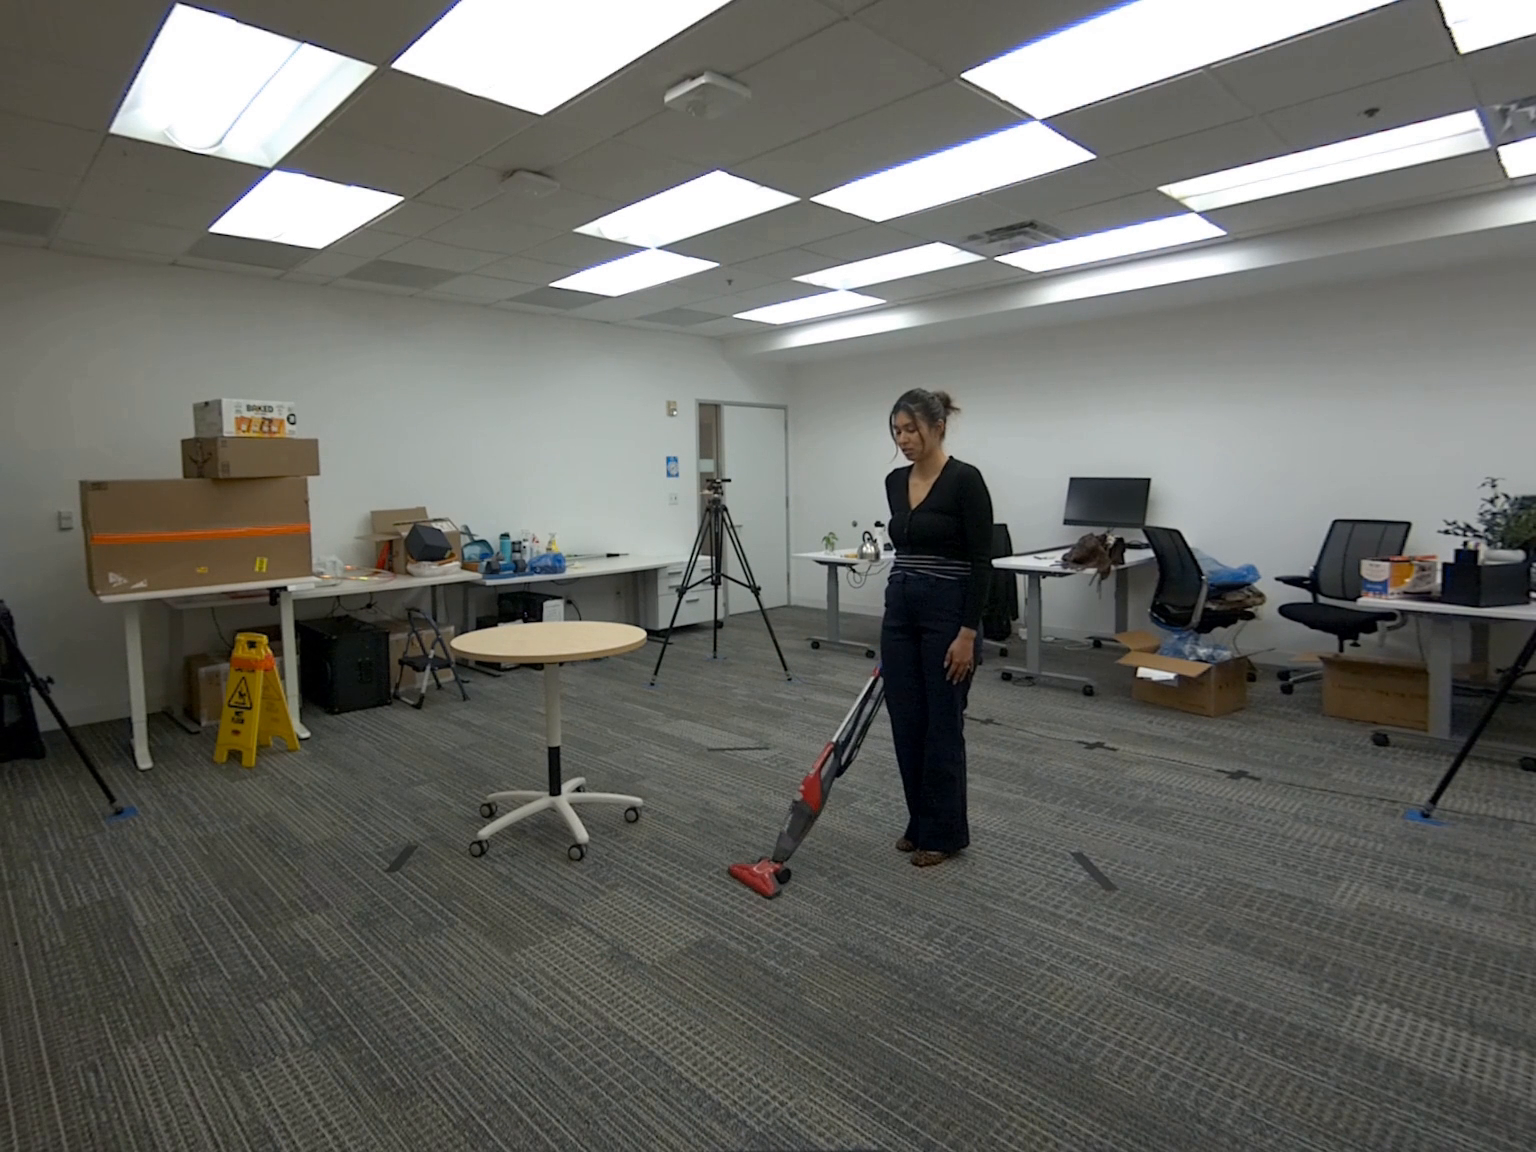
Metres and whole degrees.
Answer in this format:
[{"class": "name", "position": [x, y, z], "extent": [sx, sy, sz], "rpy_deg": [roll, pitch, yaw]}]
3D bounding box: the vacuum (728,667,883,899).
[{"class": "vacuum", "position": [0.245, 0.659, 3.141], "extent": [0.261, 1.053, 0.139], "rpy_deg": [9, -33, 47]}]
